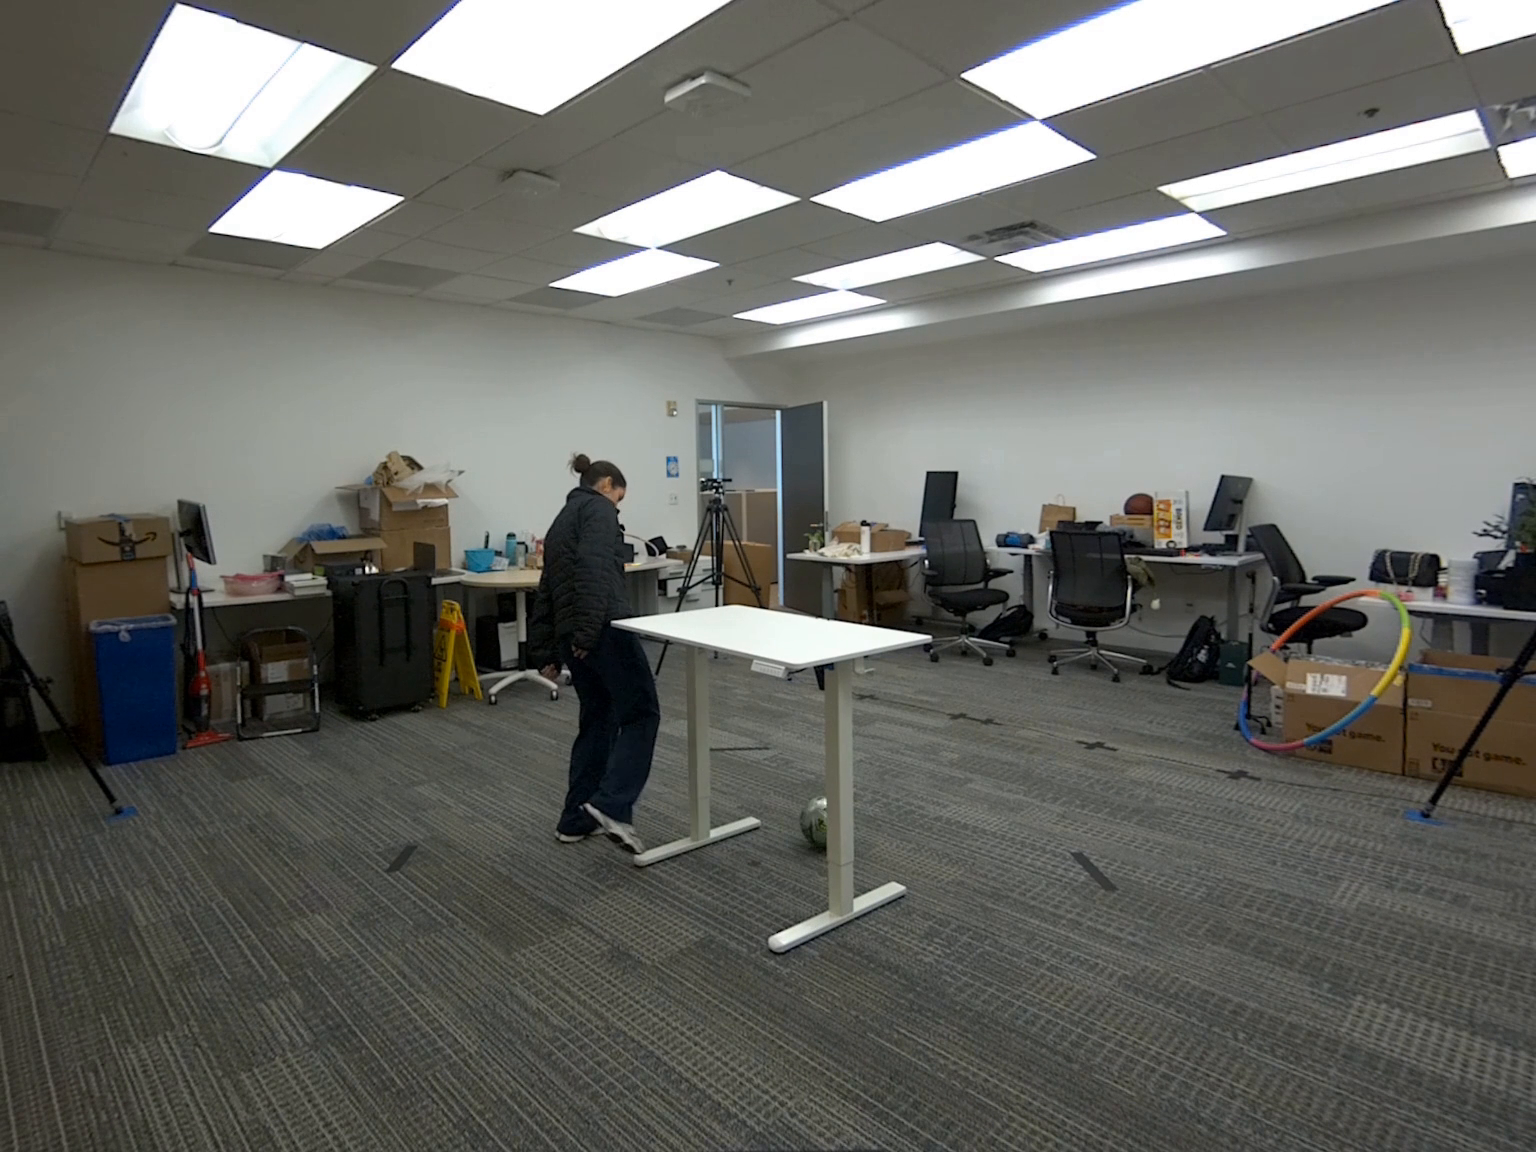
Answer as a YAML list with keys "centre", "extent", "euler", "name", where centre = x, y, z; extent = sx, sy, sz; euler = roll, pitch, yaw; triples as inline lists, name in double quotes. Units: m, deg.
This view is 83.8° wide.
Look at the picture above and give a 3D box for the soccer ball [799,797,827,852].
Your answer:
- centre: [0.211, 0.923, 3.234]
  extent: [0.187, 0.187, 0.188]
  euler: [-1, 5, -2]
  name: "soccer ball"
